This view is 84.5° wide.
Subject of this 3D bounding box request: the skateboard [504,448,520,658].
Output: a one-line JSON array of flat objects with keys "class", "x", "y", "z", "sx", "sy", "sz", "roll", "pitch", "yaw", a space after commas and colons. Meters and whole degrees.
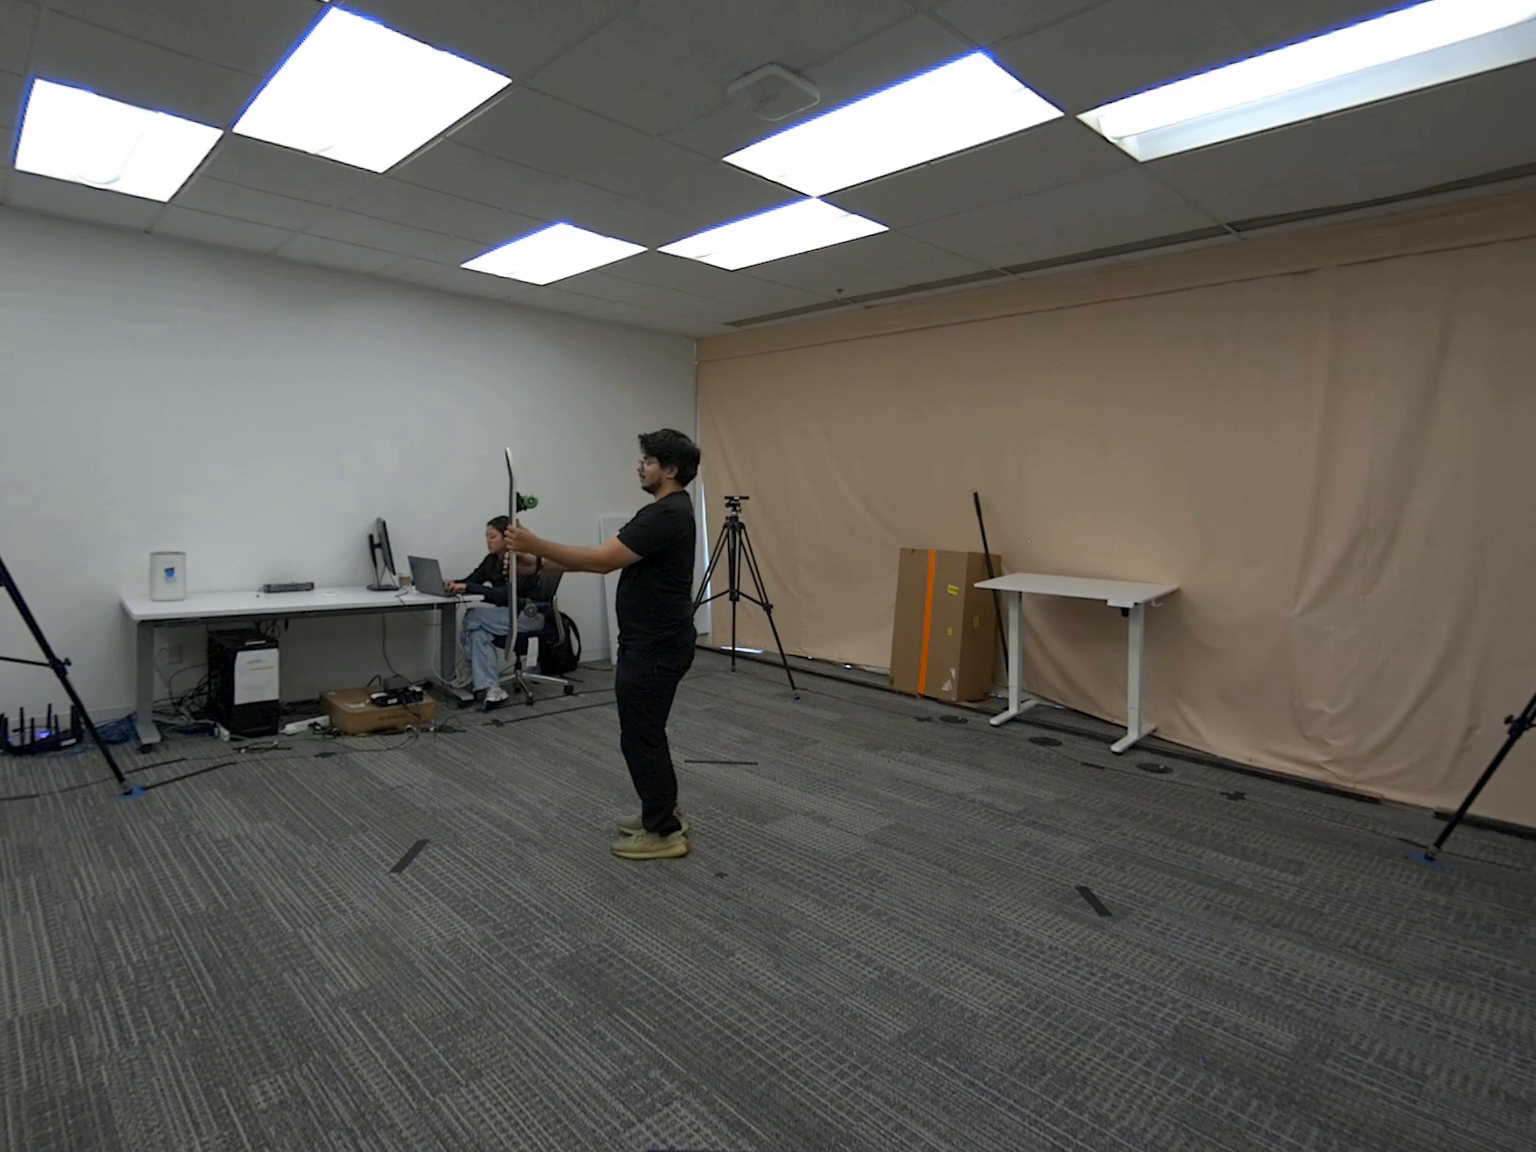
[{"class": "skateboard", "x": -0.924, "y": -0.076, "z": 3.130, "sx": 0.109, "sy": 0.784, "sz": 0.196, "roll": 0, "pitch": 2, "yaw": -16}]
